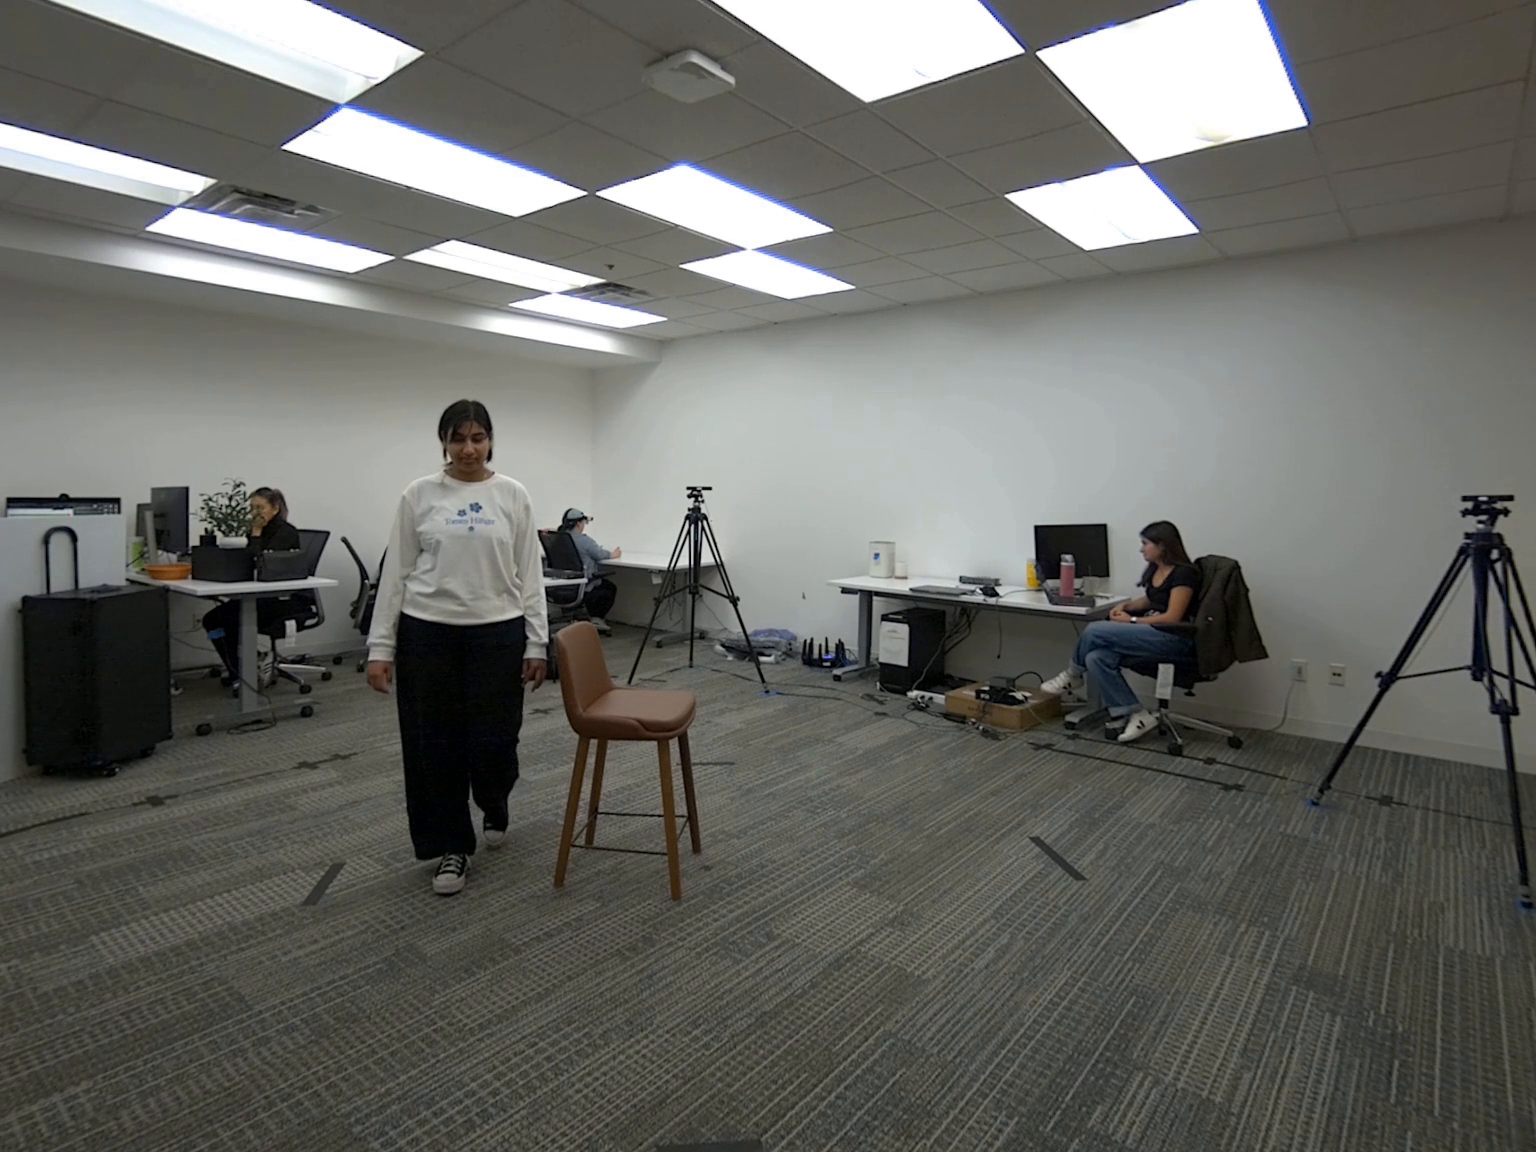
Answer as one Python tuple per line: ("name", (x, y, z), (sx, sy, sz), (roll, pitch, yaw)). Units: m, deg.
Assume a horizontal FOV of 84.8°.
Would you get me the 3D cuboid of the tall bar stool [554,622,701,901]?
("tall bar stool", (-0.505, 0.630, 3.063), (0.472, 0.887, 0.453), (-1, 3, 8))
